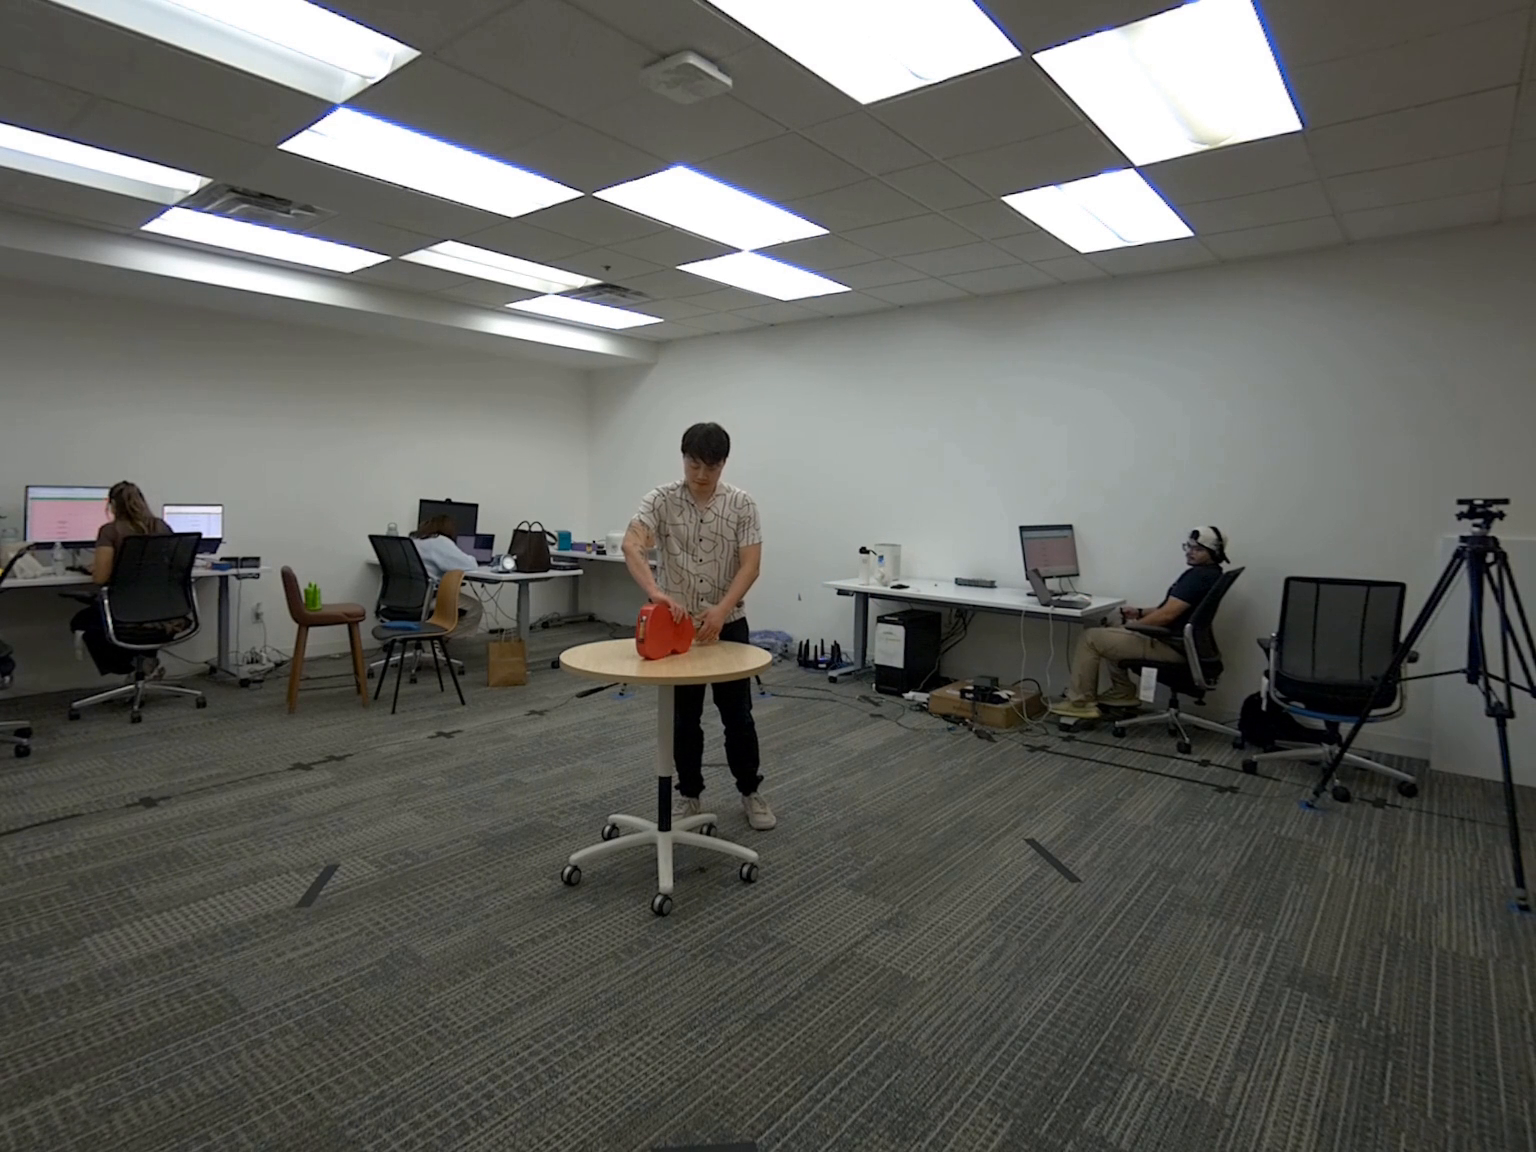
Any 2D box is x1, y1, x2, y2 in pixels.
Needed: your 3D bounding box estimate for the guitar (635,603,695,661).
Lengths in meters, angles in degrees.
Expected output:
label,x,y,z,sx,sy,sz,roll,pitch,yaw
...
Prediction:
label,x,y,z,sx,sy,sz,roll,pitch,yaw
guitar,-0.335,0.182,3.173,0.073,0.192,0.484,2,4,31
